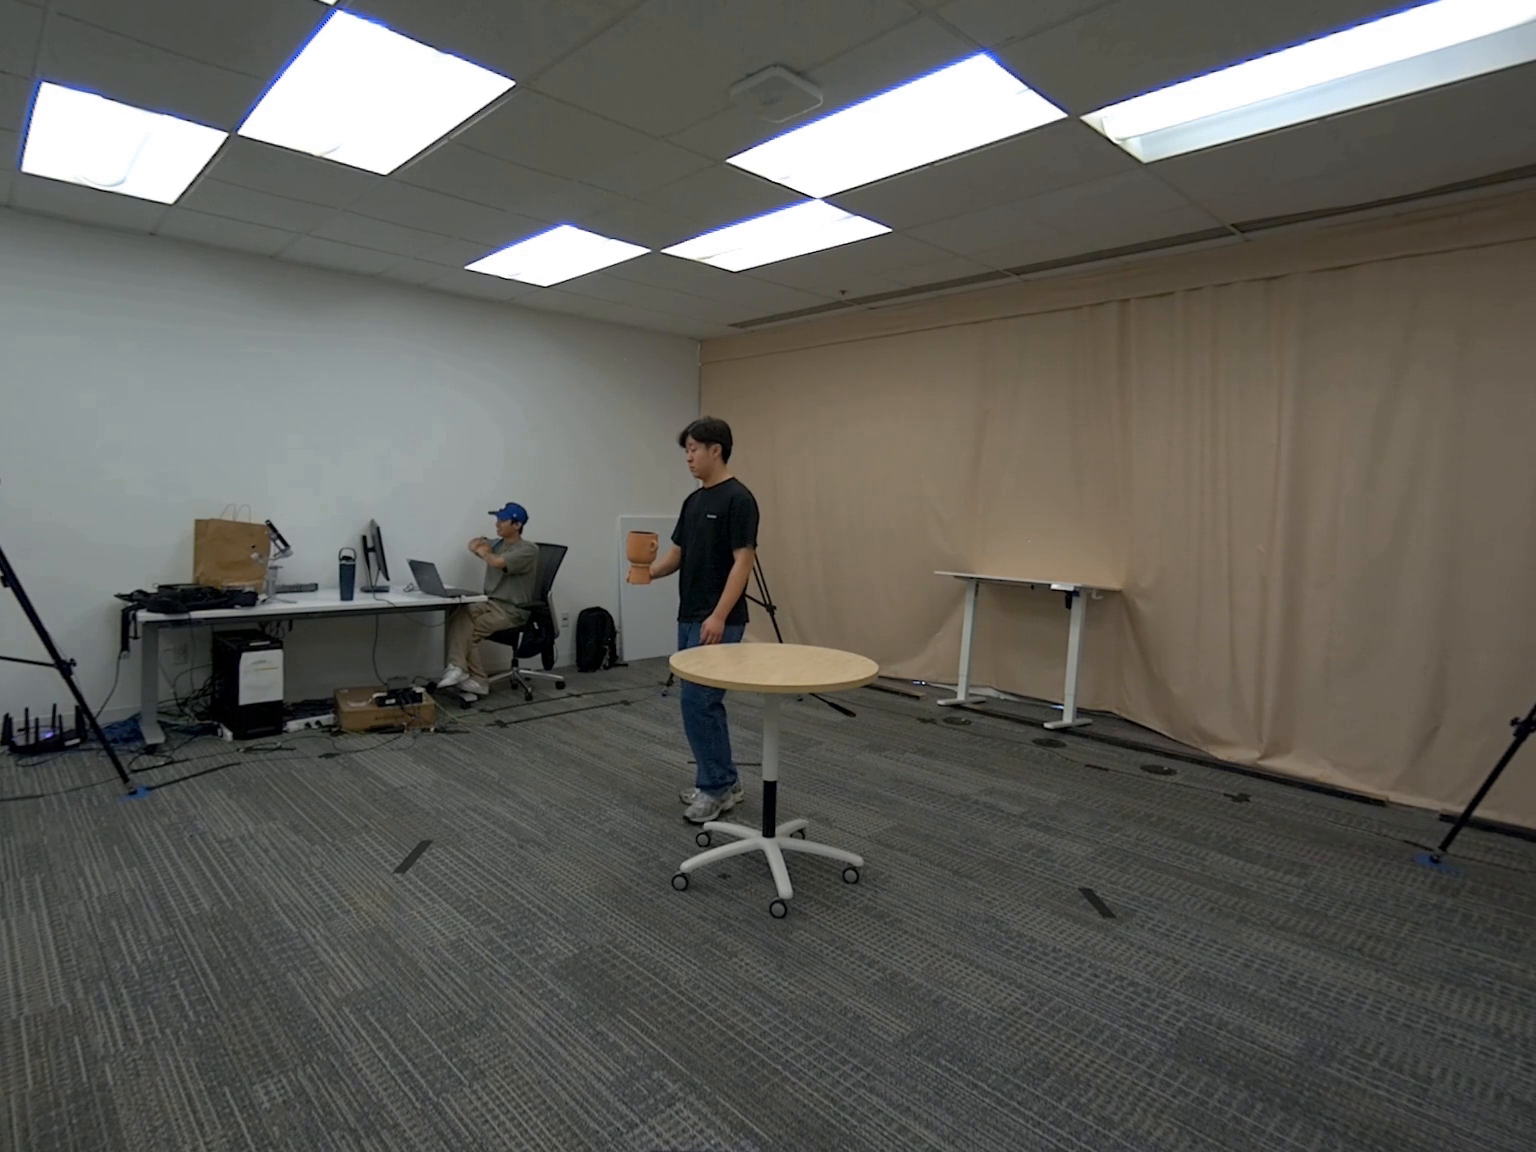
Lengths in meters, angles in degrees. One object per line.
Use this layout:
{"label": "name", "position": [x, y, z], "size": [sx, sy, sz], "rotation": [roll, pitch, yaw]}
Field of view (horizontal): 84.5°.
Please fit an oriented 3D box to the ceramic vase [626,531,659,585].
{"label": "ceramic vase", "position": [-0.565, -0.080, 3.658], "size": [0.133, 0.219, 0.161], "rotation": [4, 7, -10]}
